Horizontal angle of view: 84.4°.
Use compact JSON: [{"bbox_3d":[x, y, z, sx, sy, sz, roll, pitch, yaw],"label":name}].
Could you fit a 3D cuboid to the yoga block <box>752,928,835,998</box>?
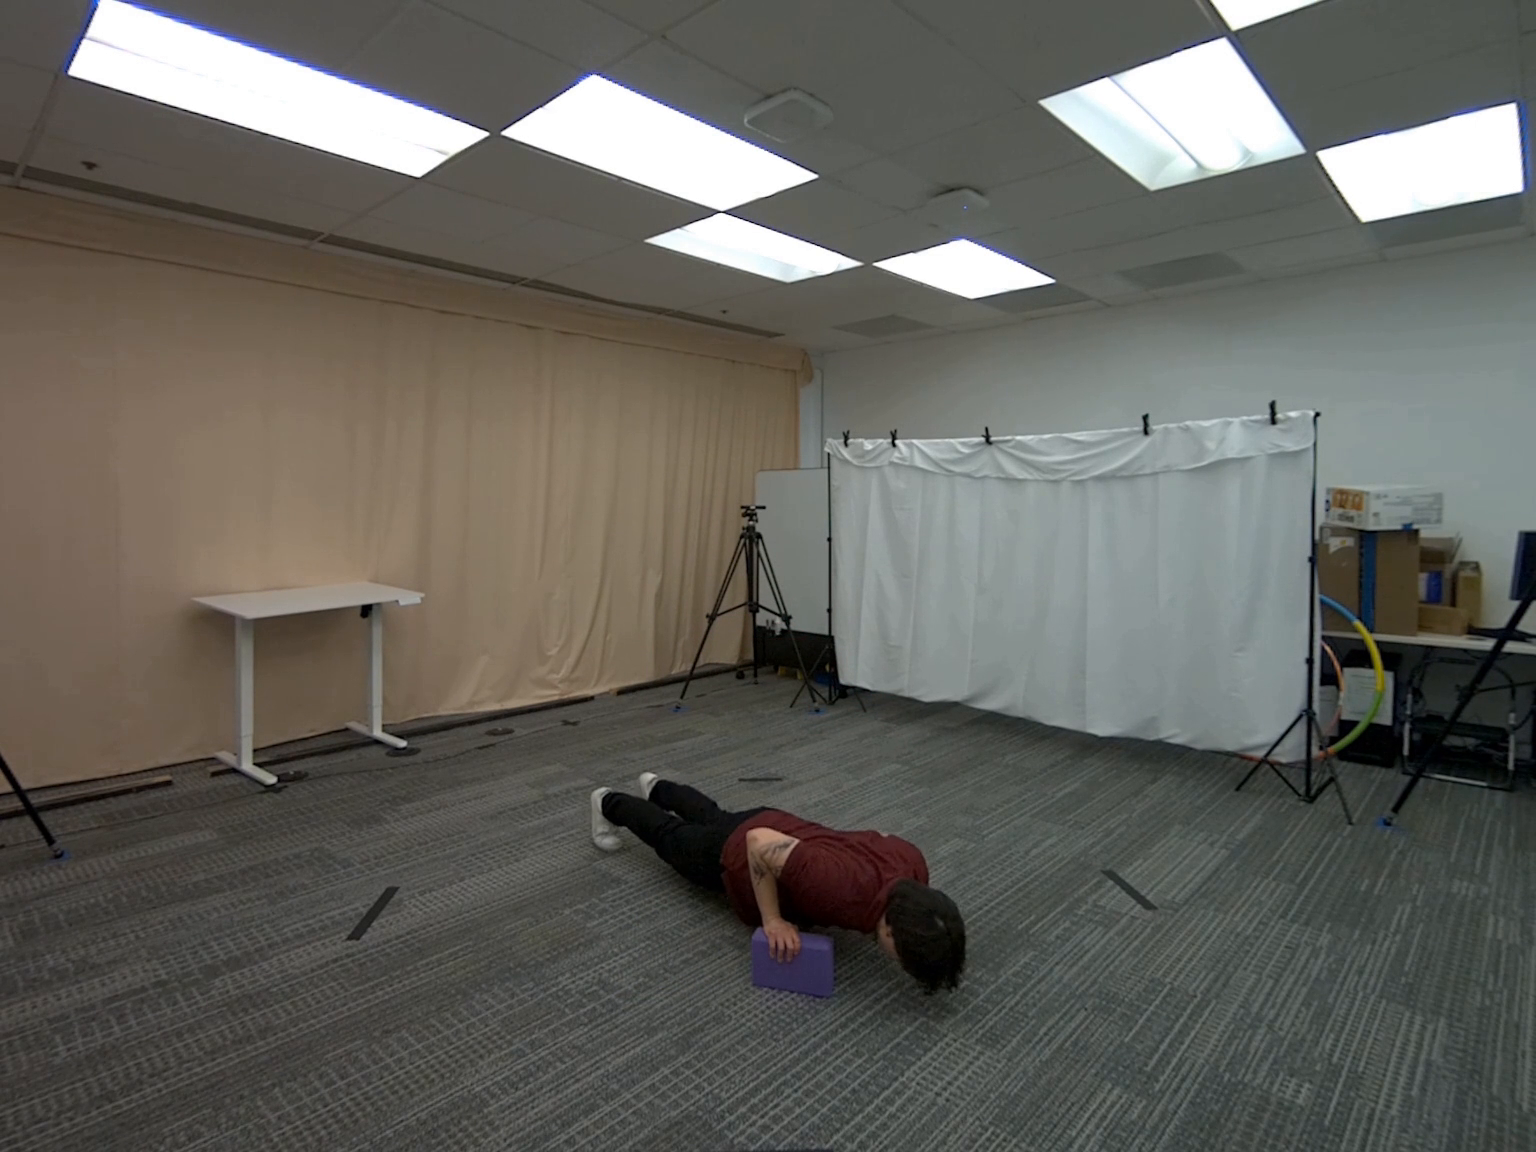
[{"bbox_3d":[0.076,1.114,2.454,0.233,0.149,0.075,-1,2,16],"label":"yoga block"}]
